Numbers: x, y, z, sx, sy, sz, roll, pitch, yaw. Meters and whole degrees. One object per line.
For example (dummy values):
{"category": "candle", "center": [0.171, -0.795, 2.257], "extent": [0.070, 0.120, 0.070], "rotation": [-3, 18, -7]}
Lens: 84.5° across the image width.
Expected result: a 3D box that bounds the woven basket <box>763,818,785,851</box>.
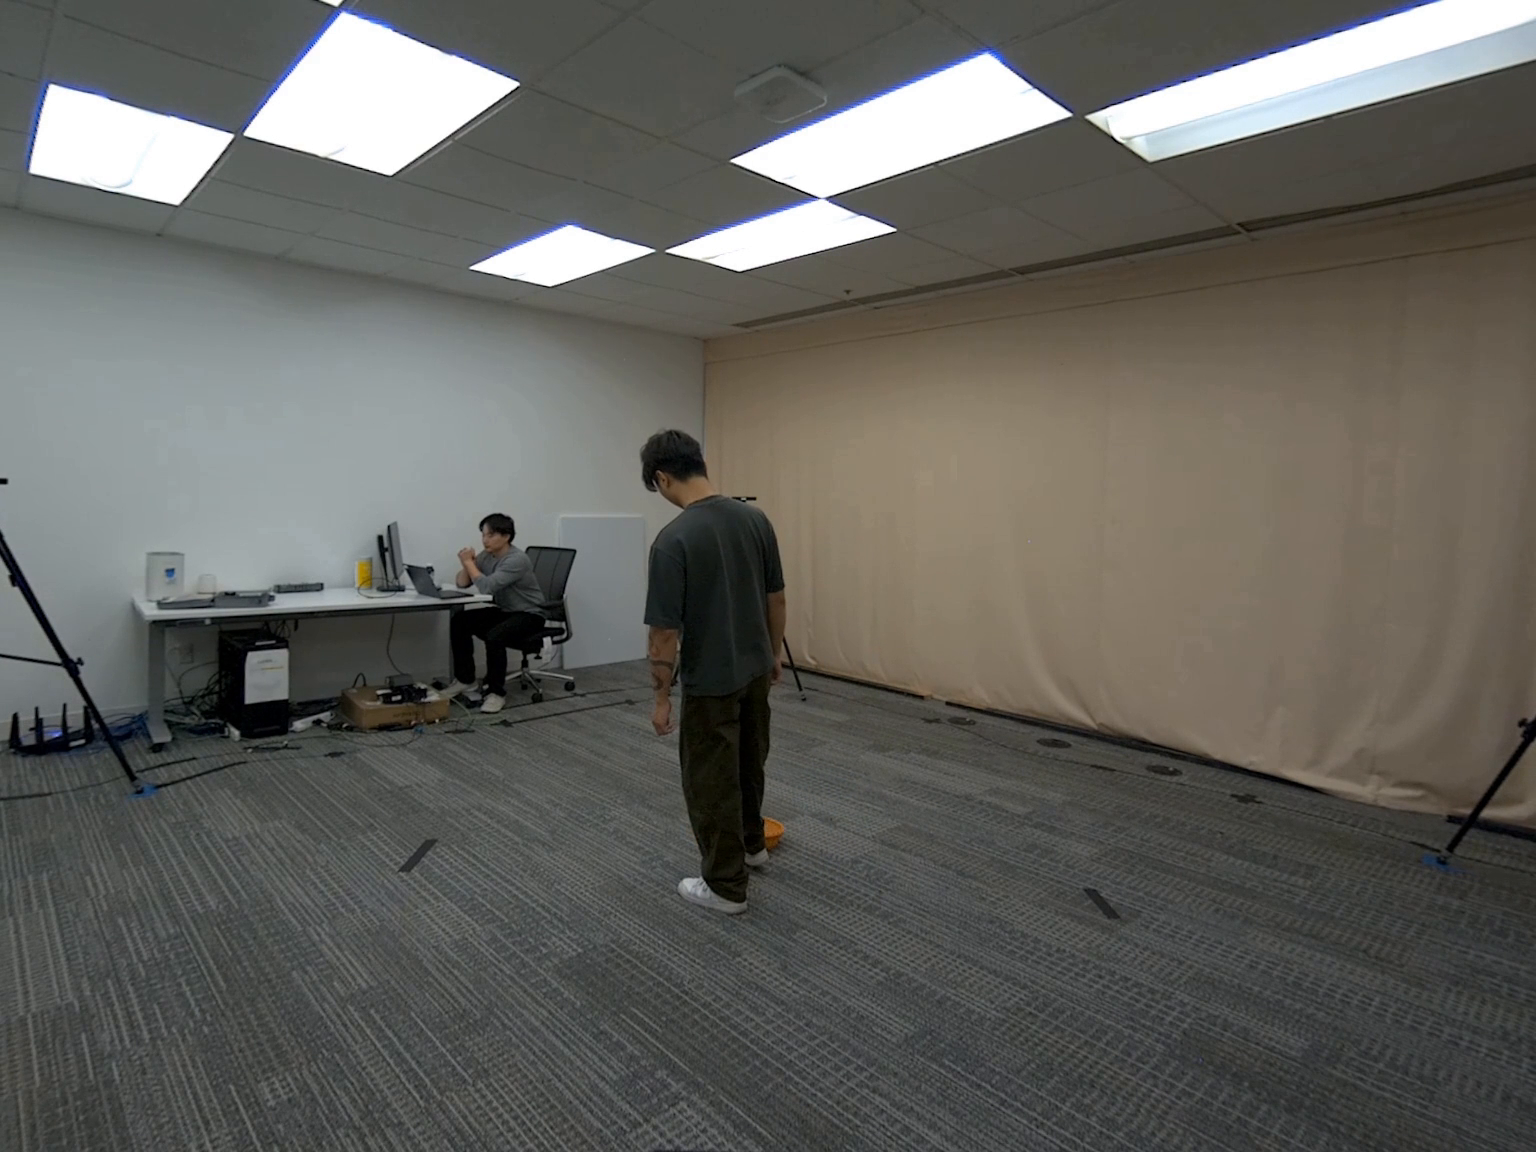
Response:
{"category": "woven basket", "center": [-0.105, 1.040, 3.423], "extent": [0.358, 0.073, 0.247], "rotation": [4, 2, 30]}
